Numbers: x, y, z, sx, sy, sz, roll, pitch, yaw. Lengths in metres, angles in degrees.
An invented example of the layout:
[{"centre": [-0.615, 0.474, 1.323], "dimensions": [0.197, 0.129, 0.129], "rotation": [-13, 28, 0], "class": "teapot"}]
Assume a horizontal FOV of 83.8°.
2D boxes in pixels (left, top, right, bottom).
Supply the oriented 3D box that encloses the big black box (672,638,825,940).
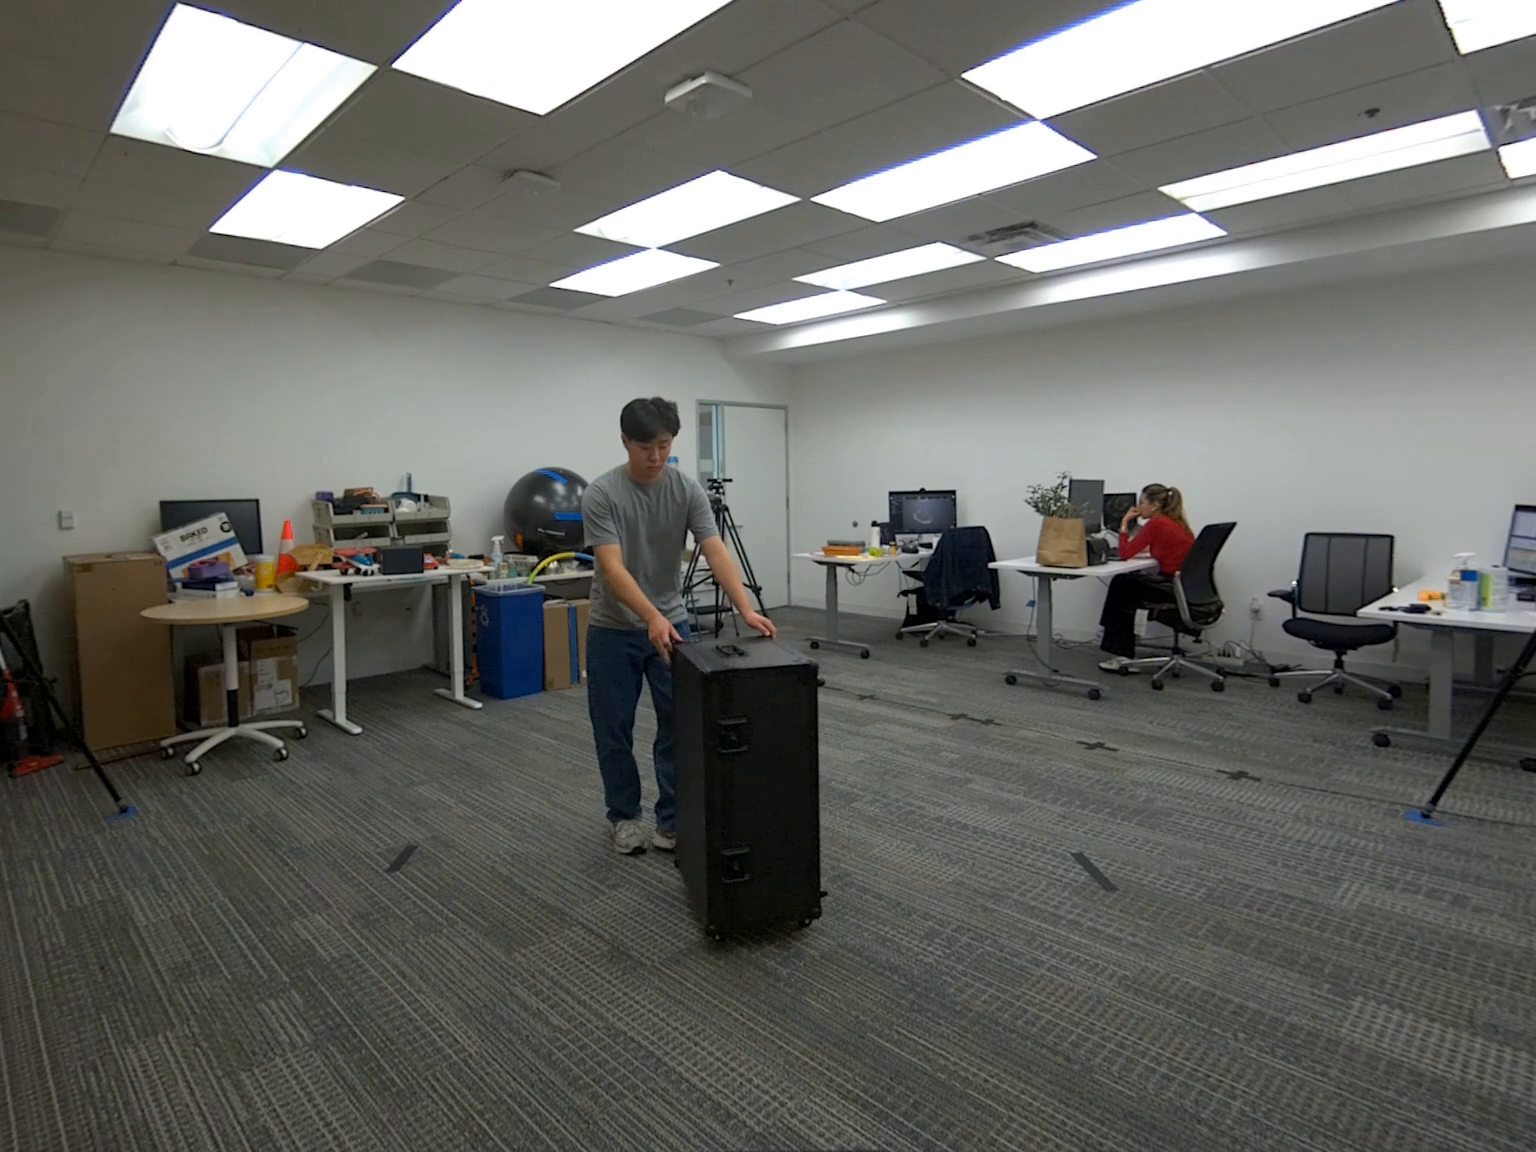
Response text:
[{"centre": [-0.069, 0.661, 2.747], "dimensions": [0.391, 0.859, 0.530], "rotation": [-1, 4, -16], "class": "big black box"}]
